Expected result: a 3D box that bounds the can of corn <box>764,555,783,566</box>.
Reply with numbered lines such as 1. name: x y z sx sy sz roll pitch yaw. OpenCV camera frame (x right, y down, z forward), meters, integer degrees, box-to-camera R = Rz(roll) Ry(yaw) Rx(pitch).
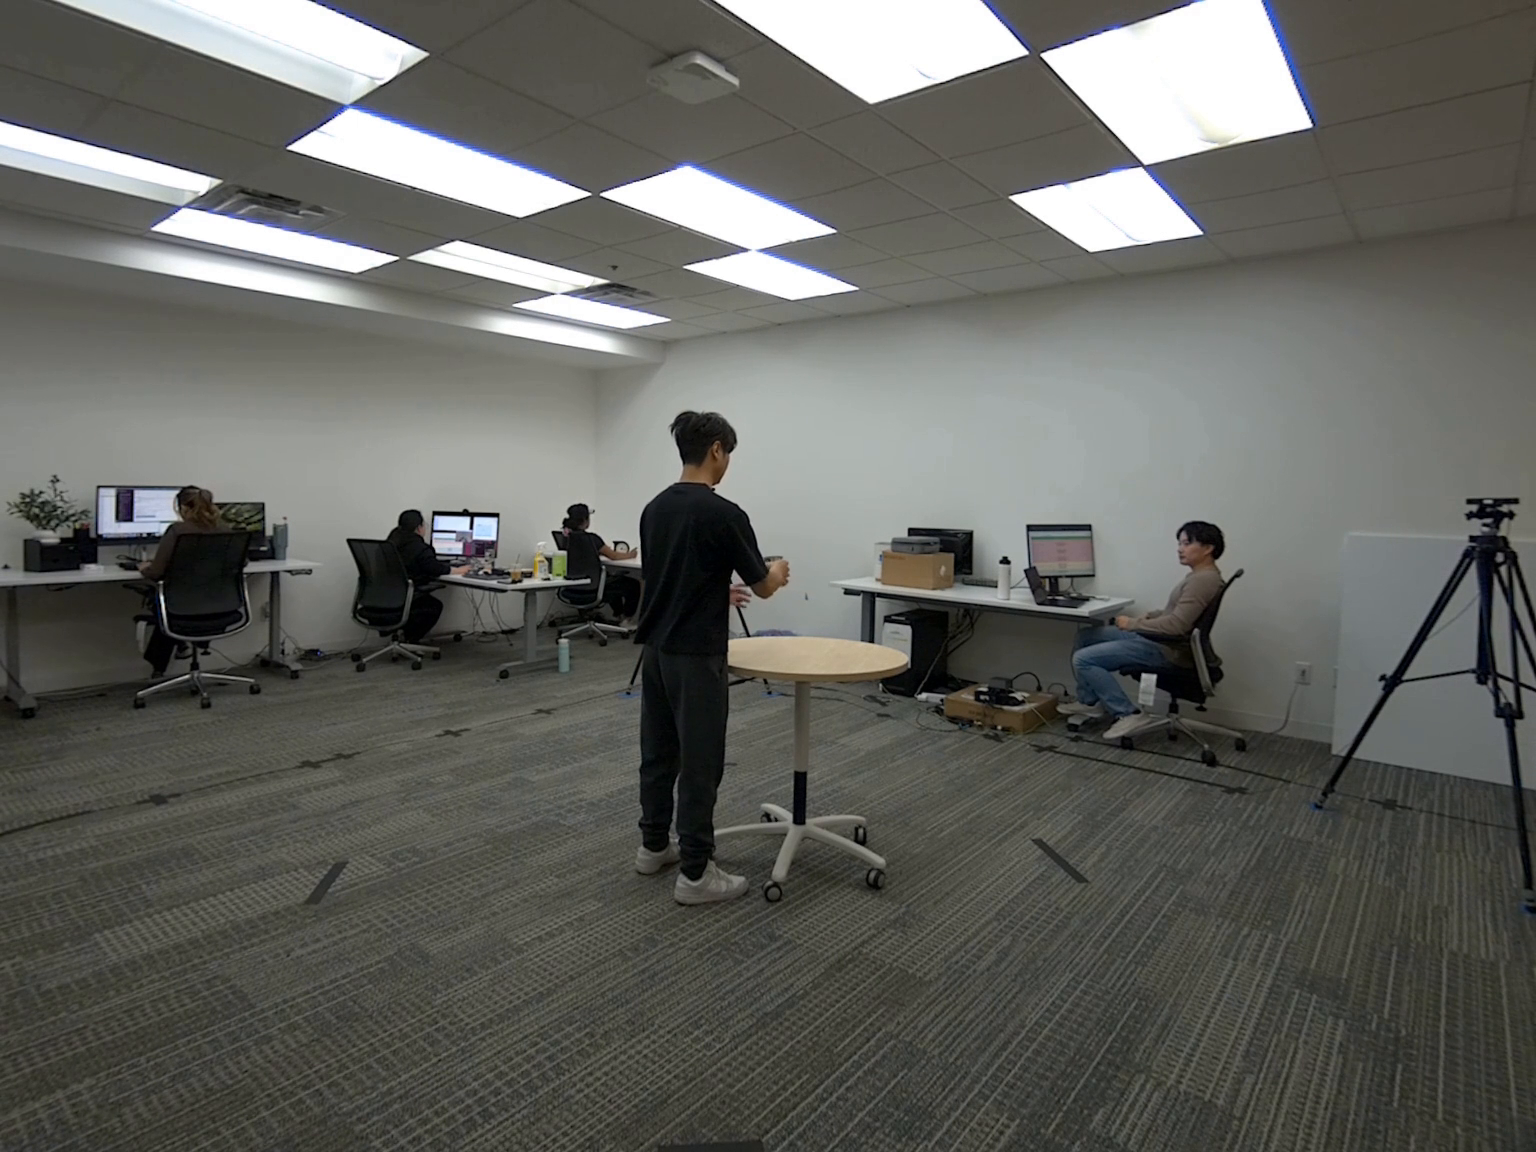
1. can of corn: 0.012 -0.013 3.214 0.074 0.111 0.074 2 -3 -2
